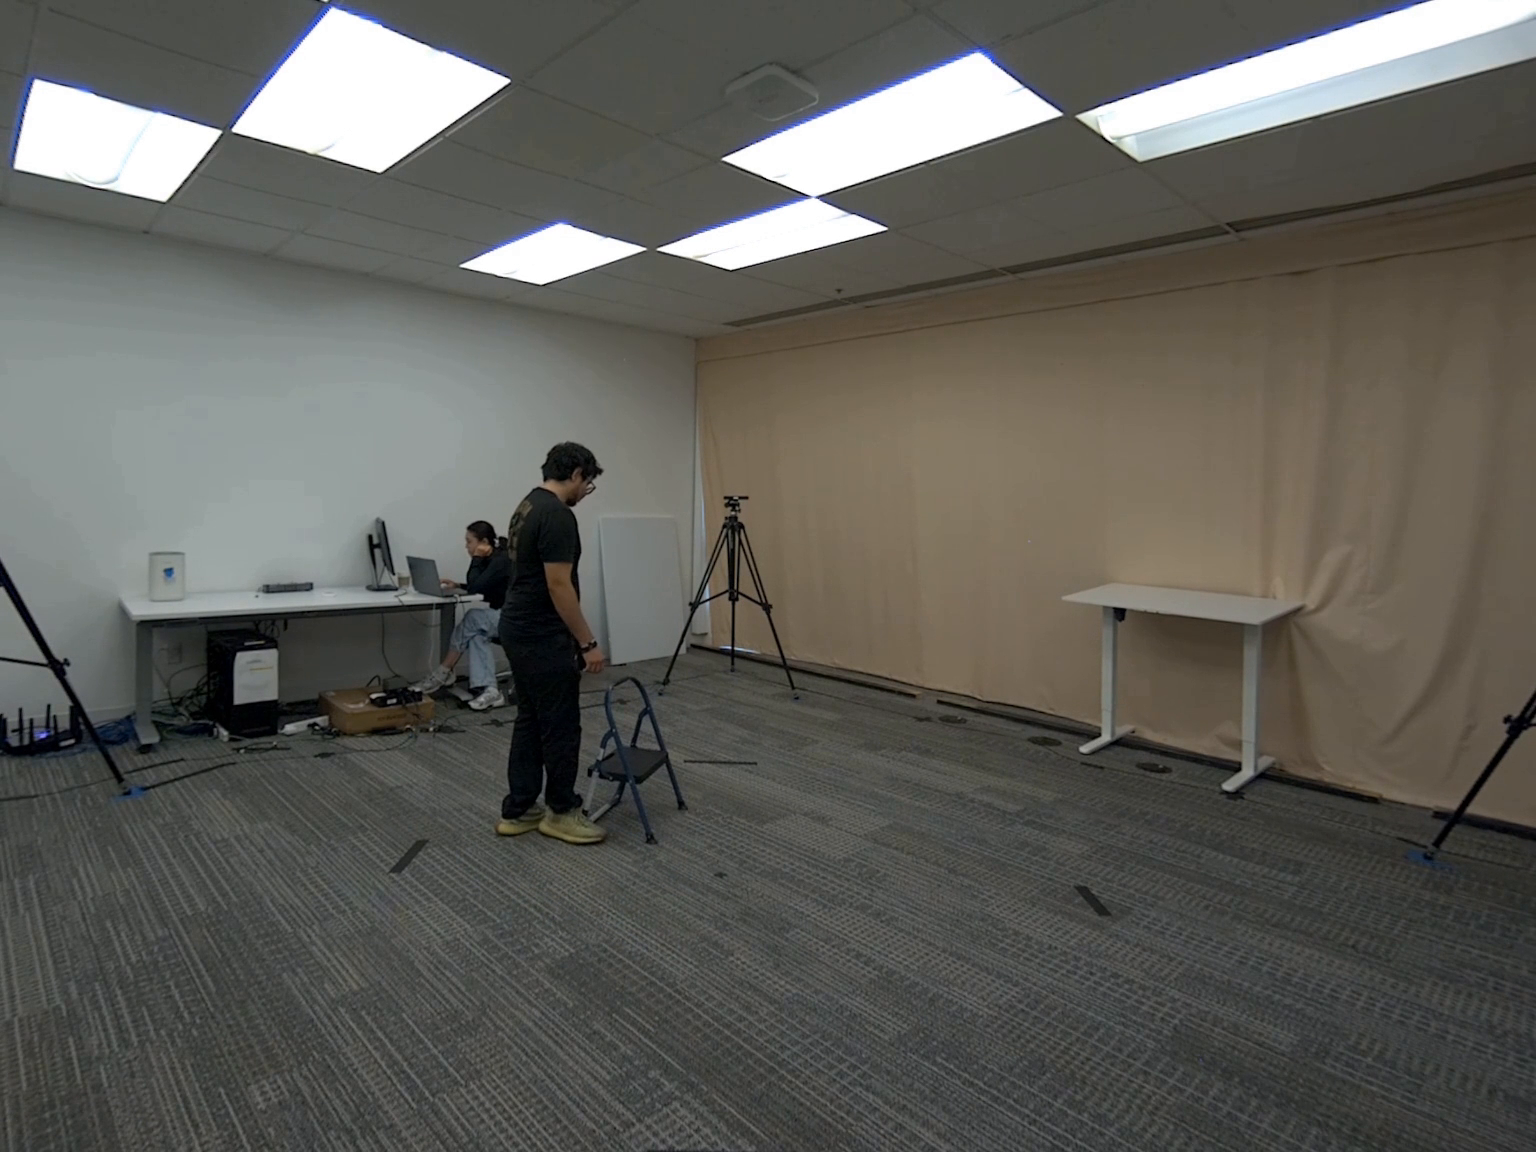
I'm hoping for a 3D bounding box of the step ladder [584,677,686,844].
[{"bbox_3d":[-0.576,0.749,3.603,0.353,0.604,0.427,2,4,13],"label":"step ladder"}]
